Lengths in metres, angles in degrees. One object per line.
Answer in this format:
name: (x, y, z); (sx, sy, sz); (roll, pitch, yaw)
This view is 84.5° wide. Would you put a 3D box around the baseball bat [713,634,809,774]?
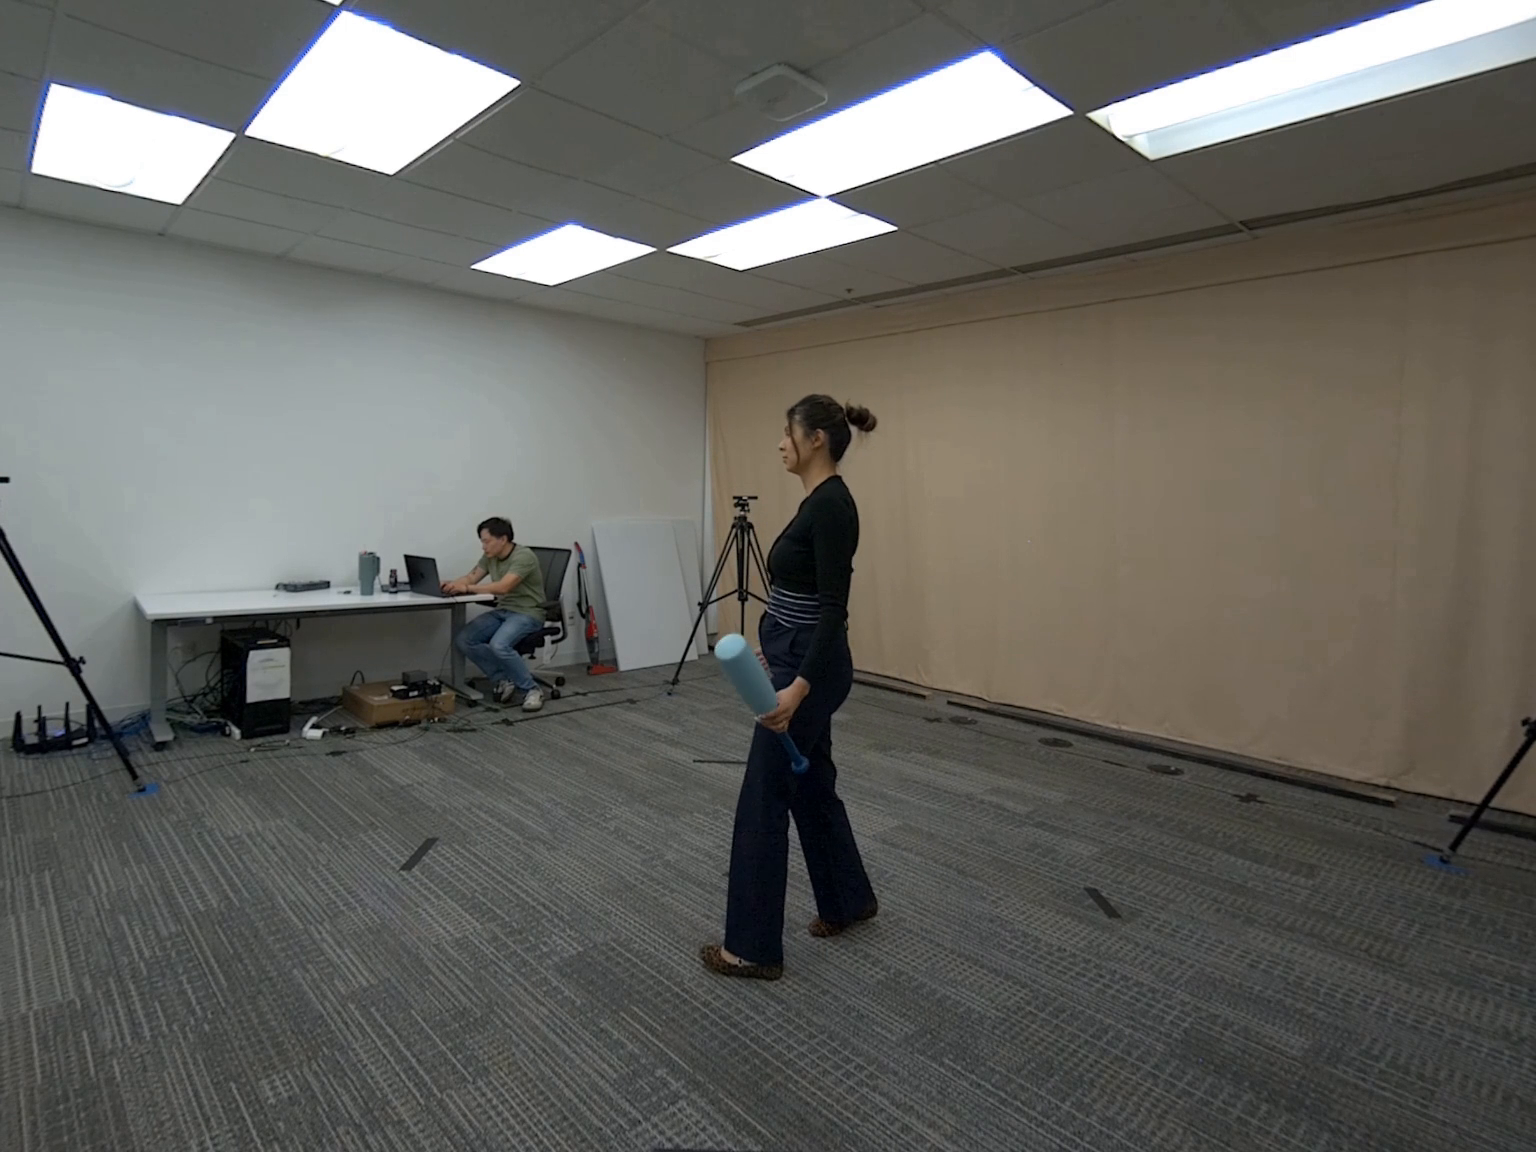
baseball bat: (-0.022, 0.331, 2.186); (0.090, 0.527, 0.091); (-16, 39, 12)
